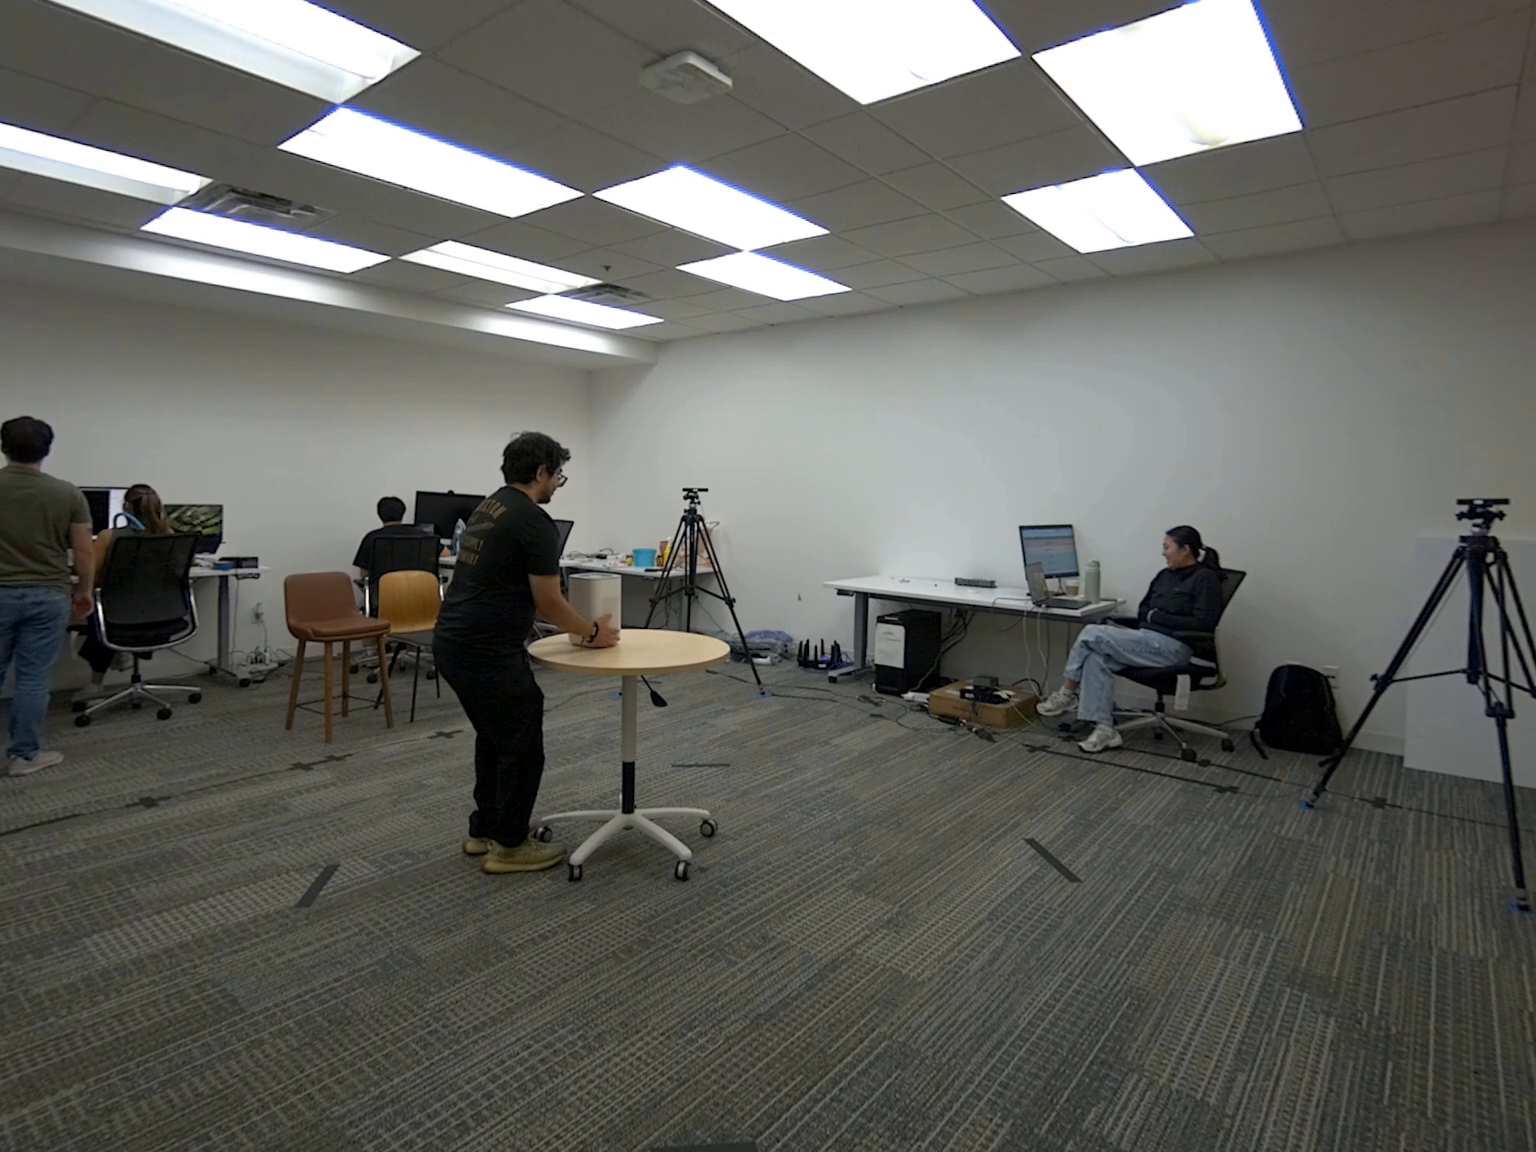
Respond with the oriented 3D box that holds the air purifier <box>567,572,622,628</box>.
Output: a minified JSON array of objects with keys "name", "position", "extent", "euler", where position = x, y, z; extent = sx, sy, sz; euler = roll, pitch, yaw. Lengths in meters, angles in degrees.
[{"name":"air purifier","position":[-0.684,0.129,3.277],"extent":[0.176,0.264,0.167],"euler":[3,4,33]}]
